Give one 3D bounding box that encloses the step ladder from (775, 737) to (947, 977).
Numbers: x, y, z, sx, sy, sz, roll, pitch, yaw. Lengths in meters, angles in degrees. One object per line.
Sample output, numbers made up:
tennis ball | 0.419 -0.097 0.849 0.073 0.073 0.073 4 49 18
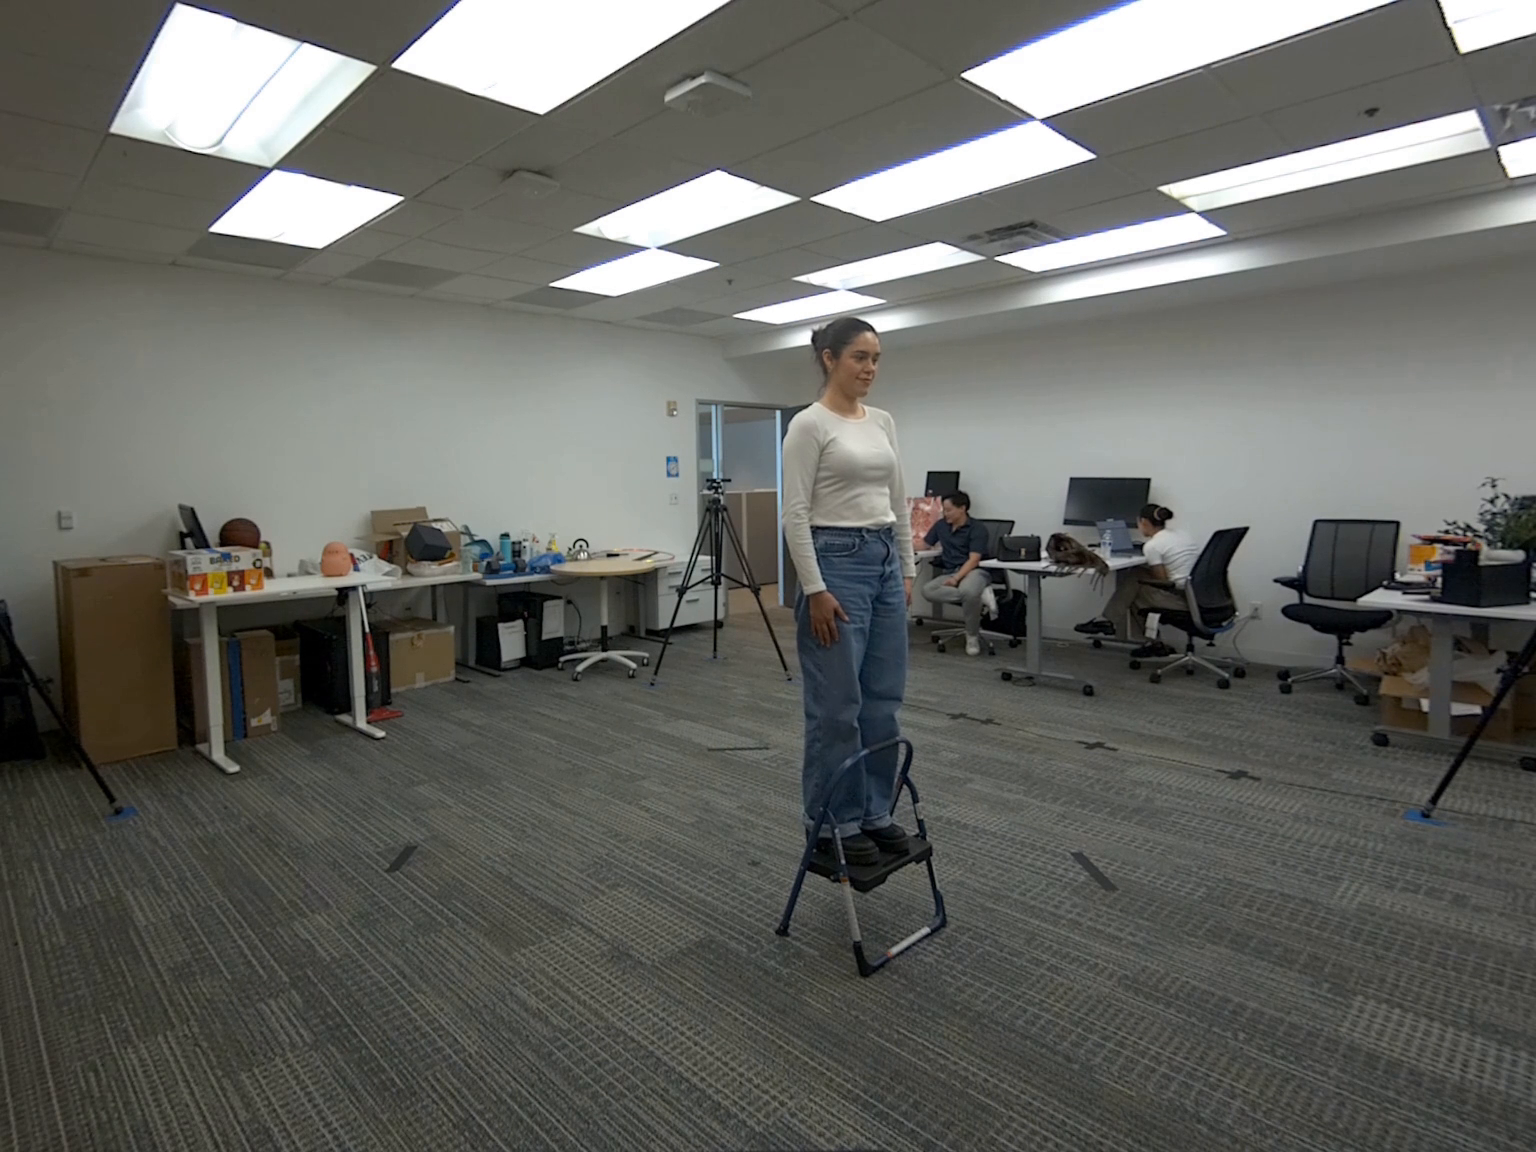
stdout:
step ladder | 0.290 0.792 2.624 0.360 0.604 0.419 4 7 45
